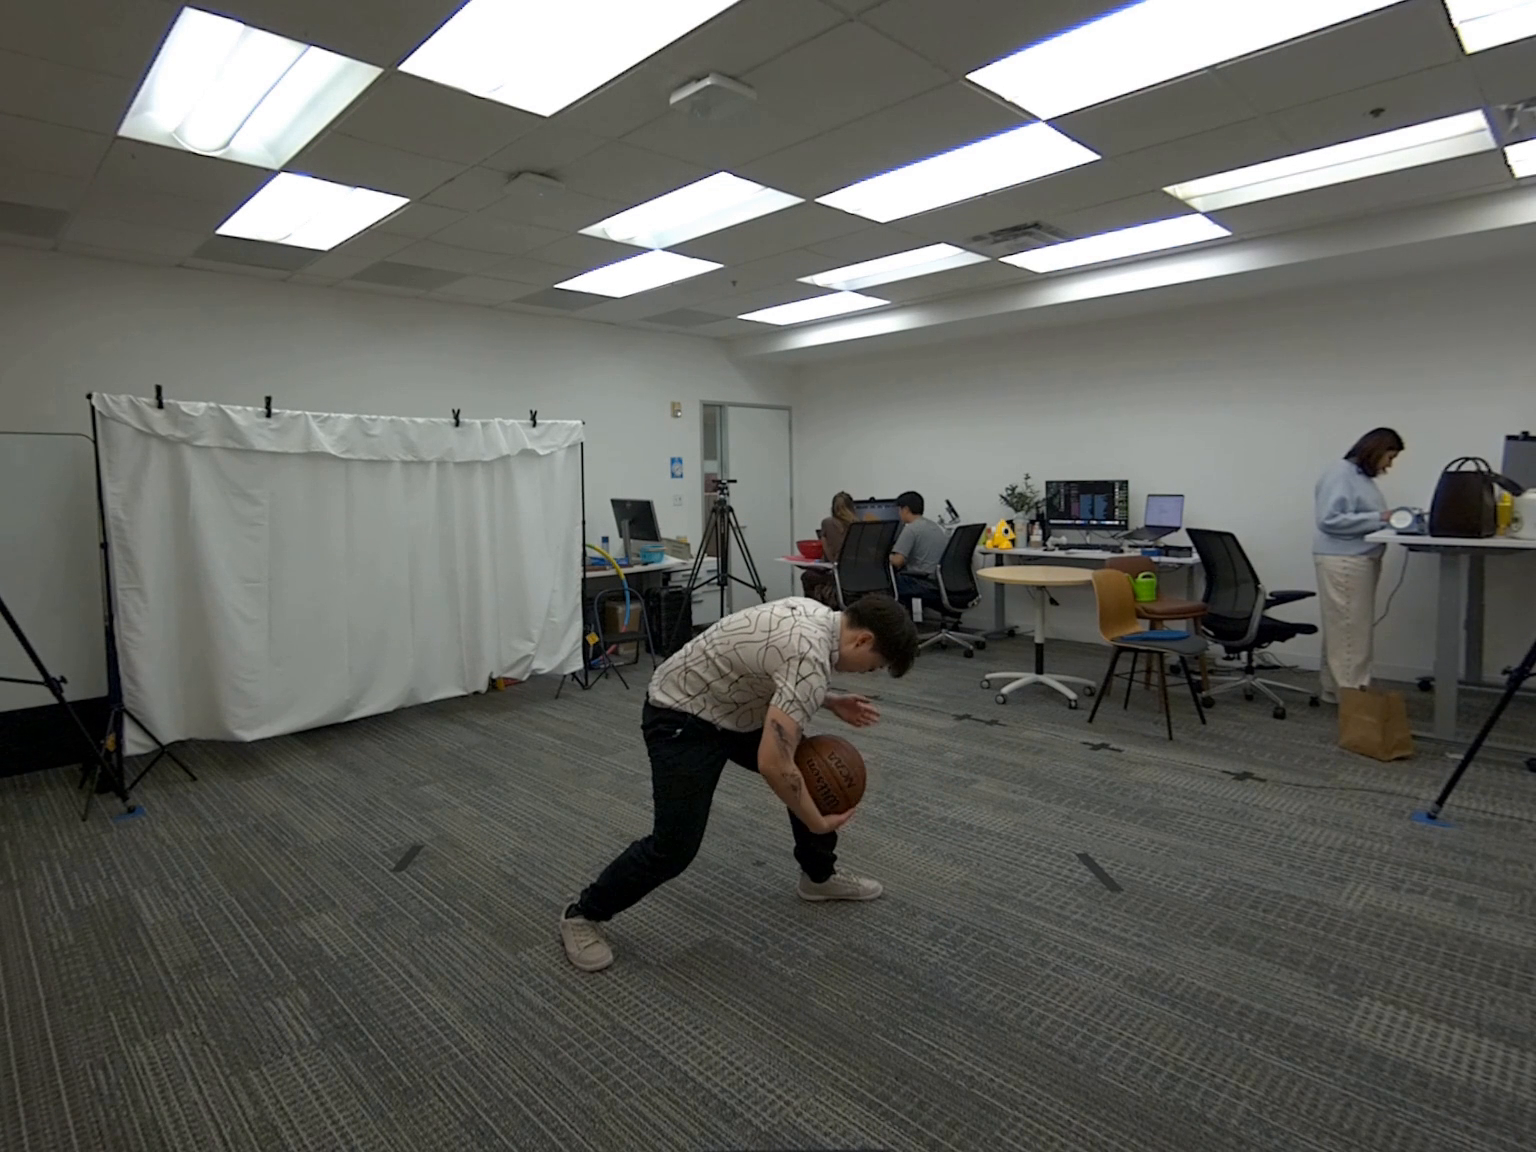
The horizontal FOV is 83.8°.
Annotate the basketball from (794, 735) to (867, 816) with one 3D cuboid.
[{"bbox_3d":[0.167,0.598,2.514,0.236,0.235,0.237,-1,5,-2],"label":"basketball"}]
